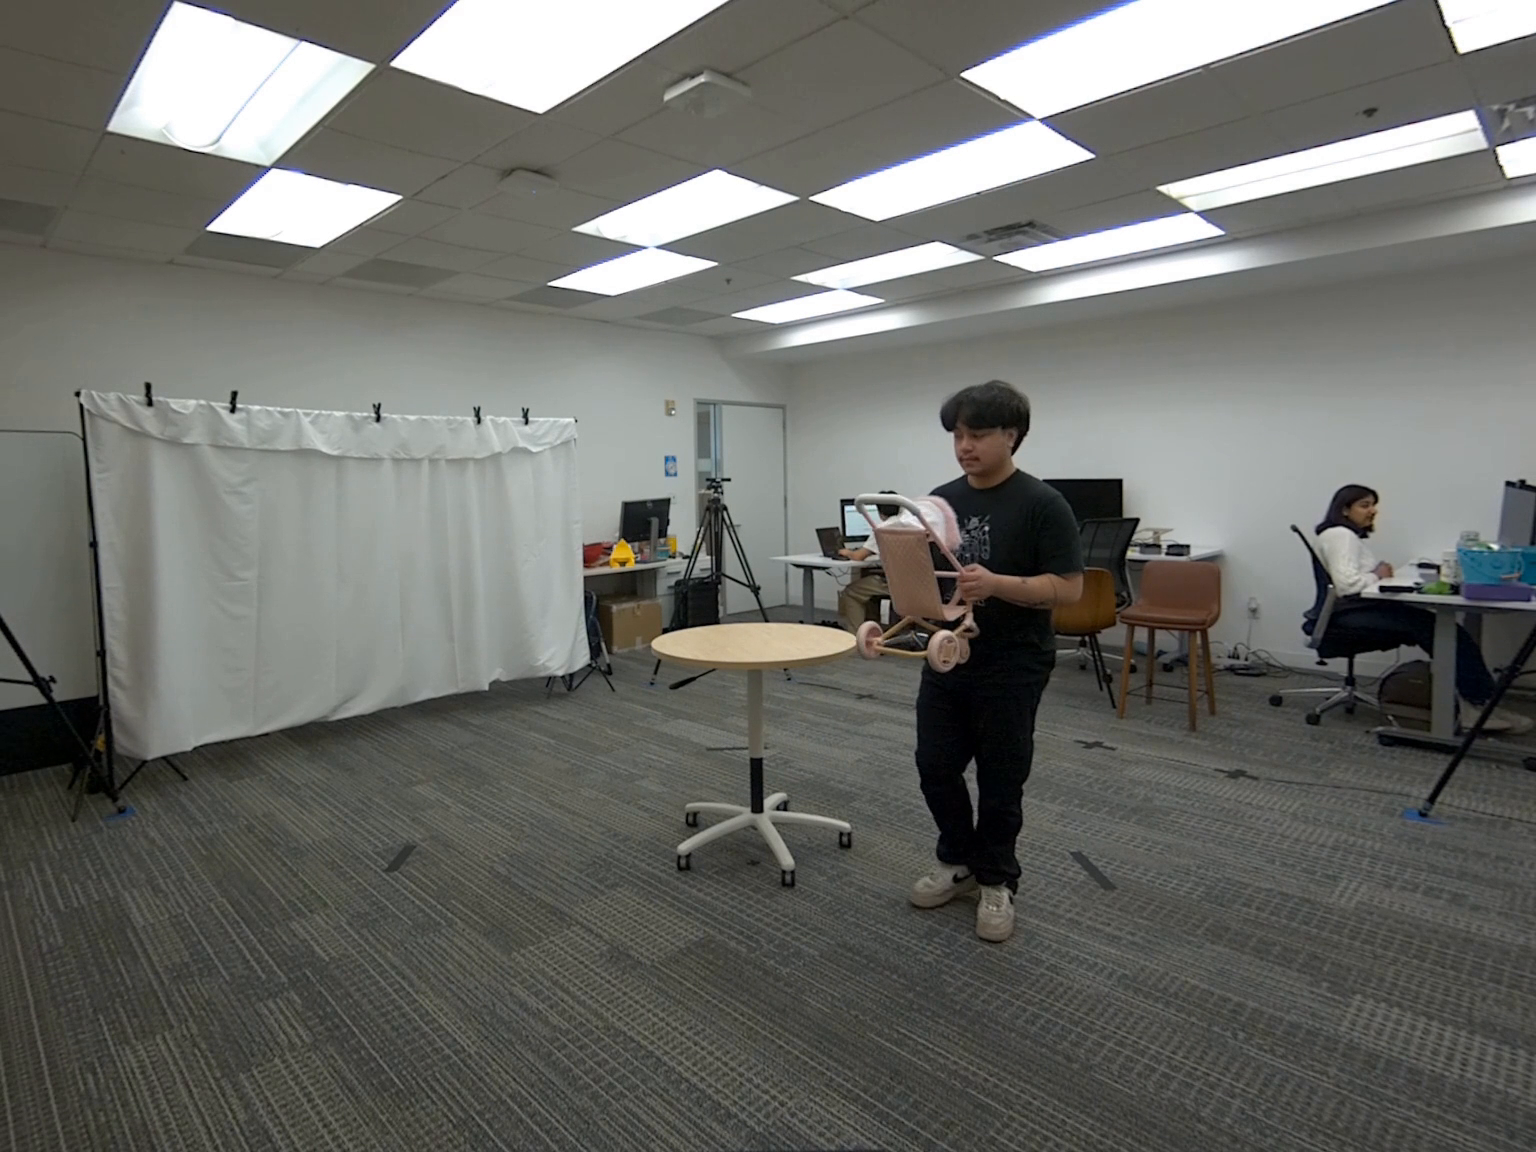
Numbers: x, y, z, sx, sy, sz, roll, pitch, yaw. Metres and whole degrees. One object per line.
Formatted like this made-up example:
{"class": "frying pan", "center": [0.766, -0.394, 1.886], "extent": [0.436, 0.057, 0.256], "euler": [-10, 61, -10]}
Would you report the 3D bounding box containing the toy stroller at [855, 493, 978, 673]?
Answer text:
{"class": "toy stroller", "center": [0.448, 0.019, 2.374], "extent": [0.334, 0.531, 0.289], "euler": [-10, 8, -36]}
